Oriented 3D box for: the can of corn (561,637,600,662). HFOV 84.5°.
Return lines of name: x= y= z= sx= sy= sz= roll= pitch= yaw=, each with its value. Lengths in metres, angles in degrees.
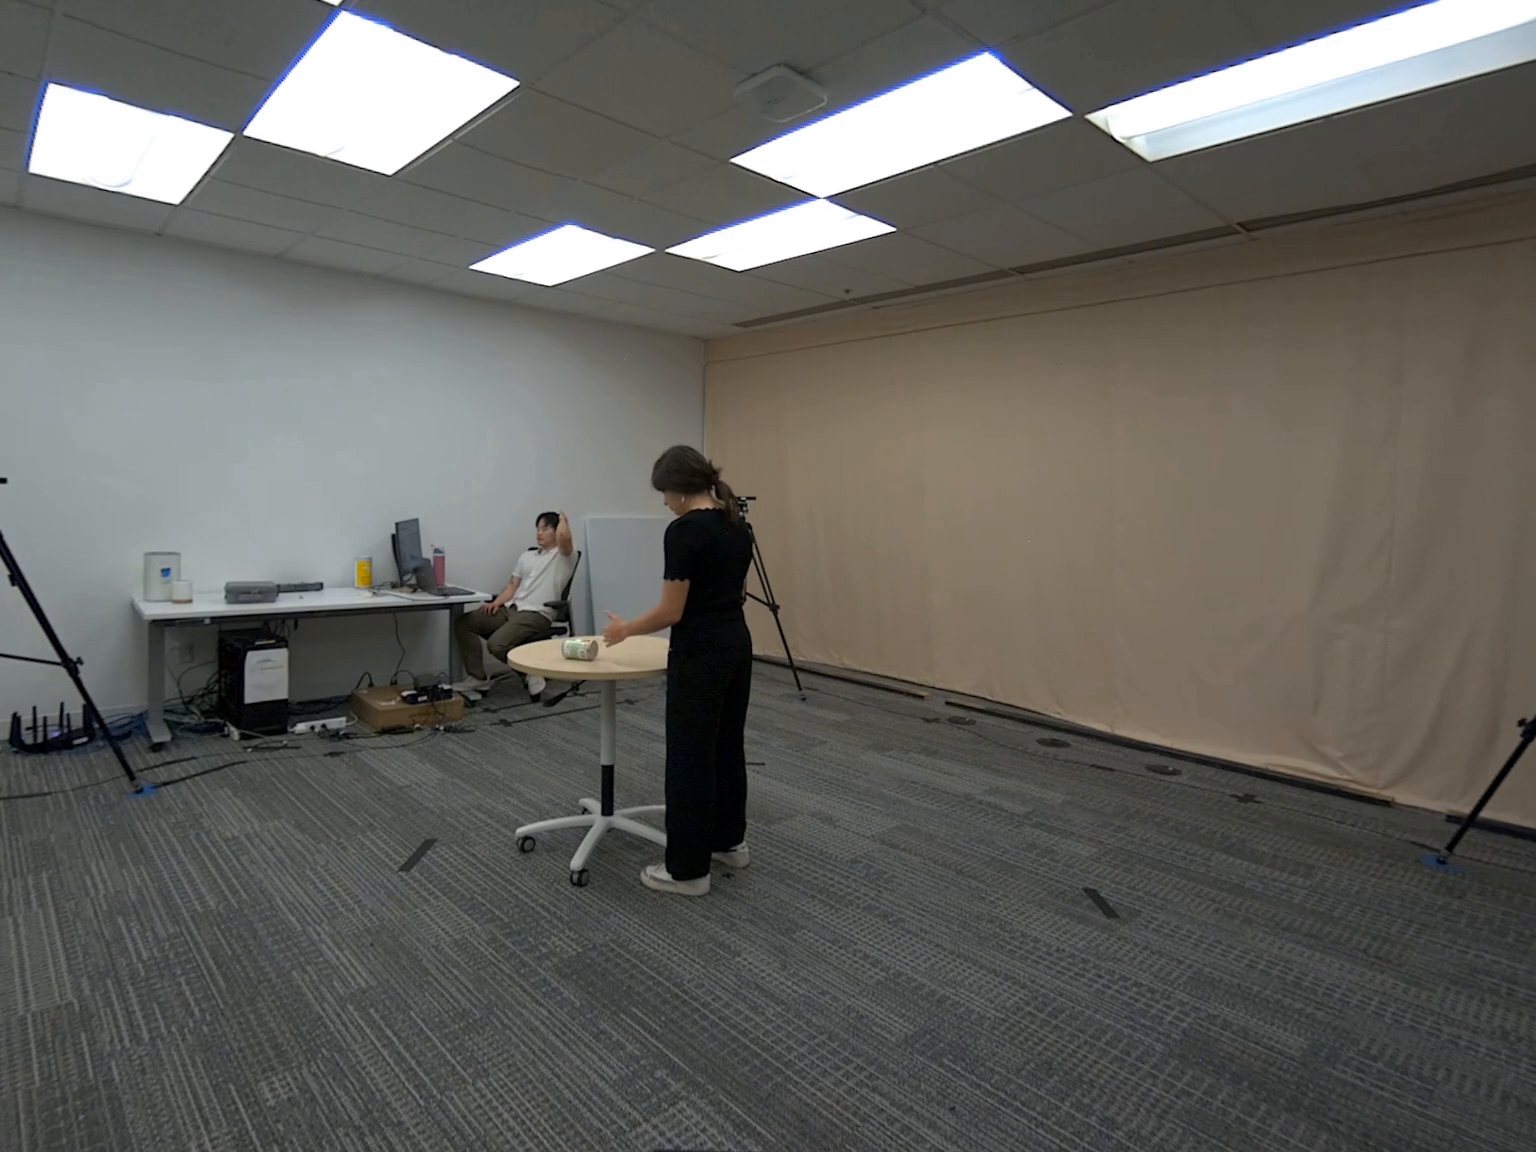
can of corn: x=-0.699 y=0.270 z=3.111 sx=0.112 sy=0.074 sz=0.073 roll=3 pitch=4 yaw=12
